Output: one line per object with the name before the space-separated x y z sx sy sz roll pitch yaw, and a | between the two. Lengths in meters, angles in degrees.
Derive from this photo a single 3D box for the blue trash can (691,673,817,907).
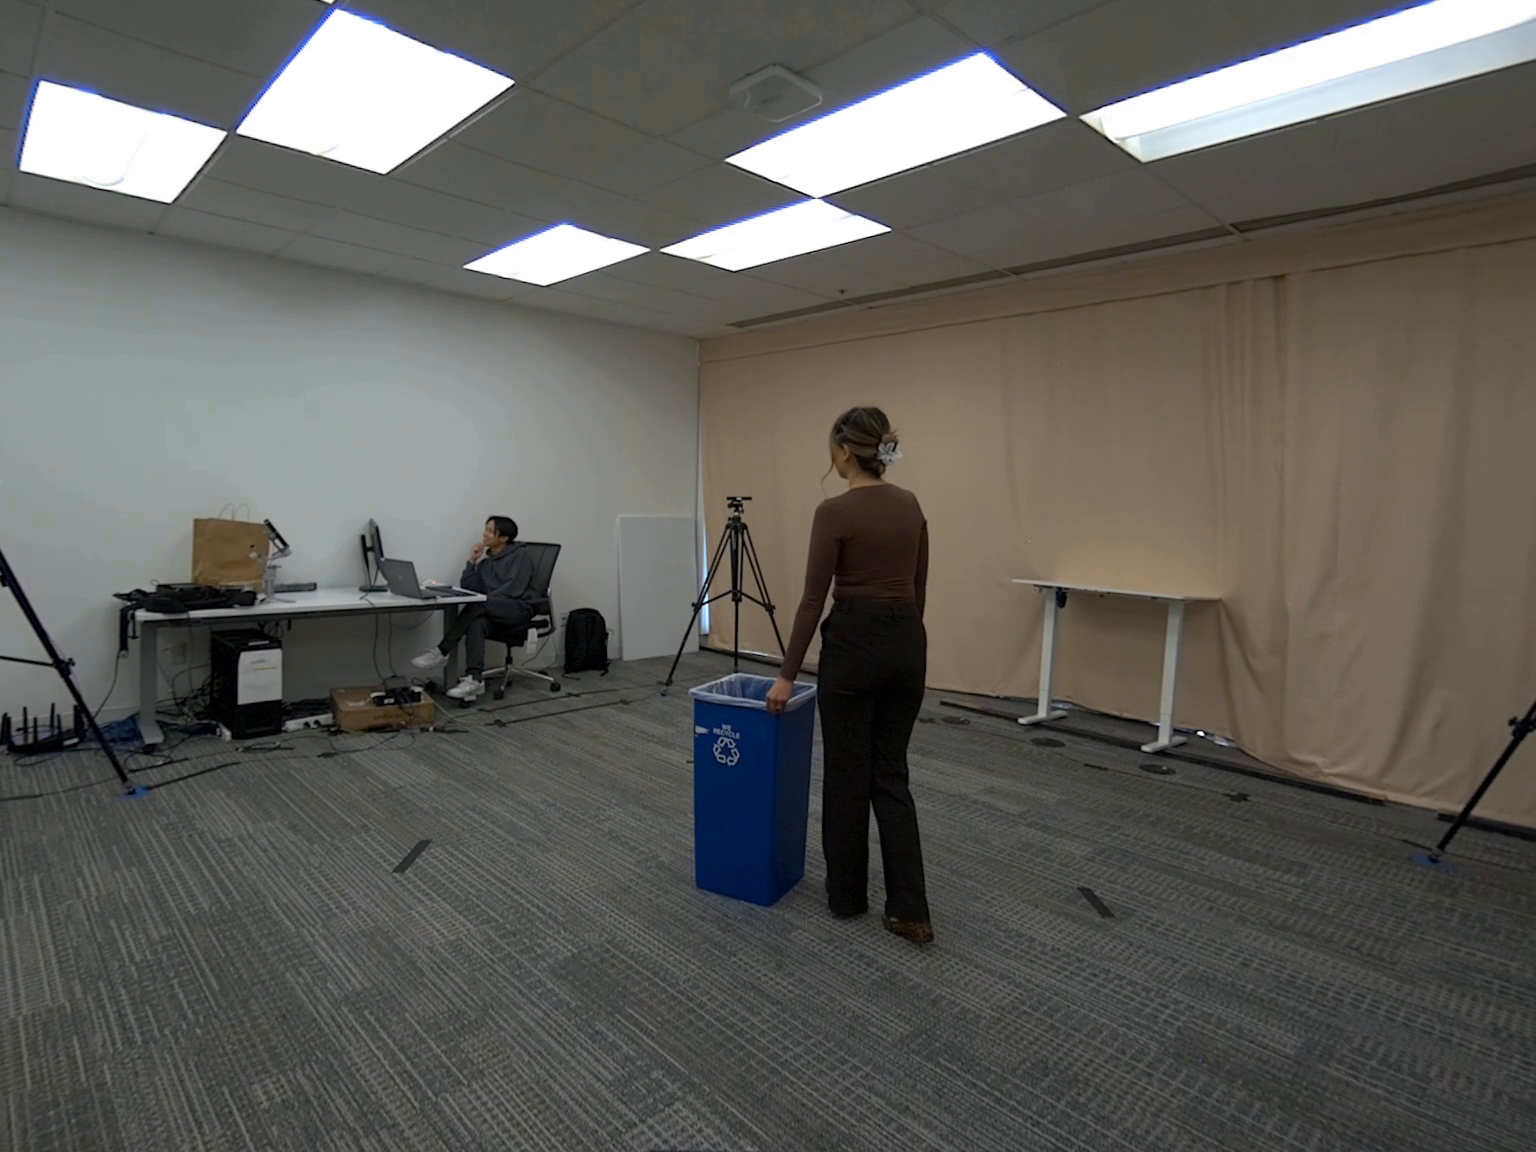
blue trash can | -0.055 0.755 3.048 0.382 0.712 0.371 3 4 28
